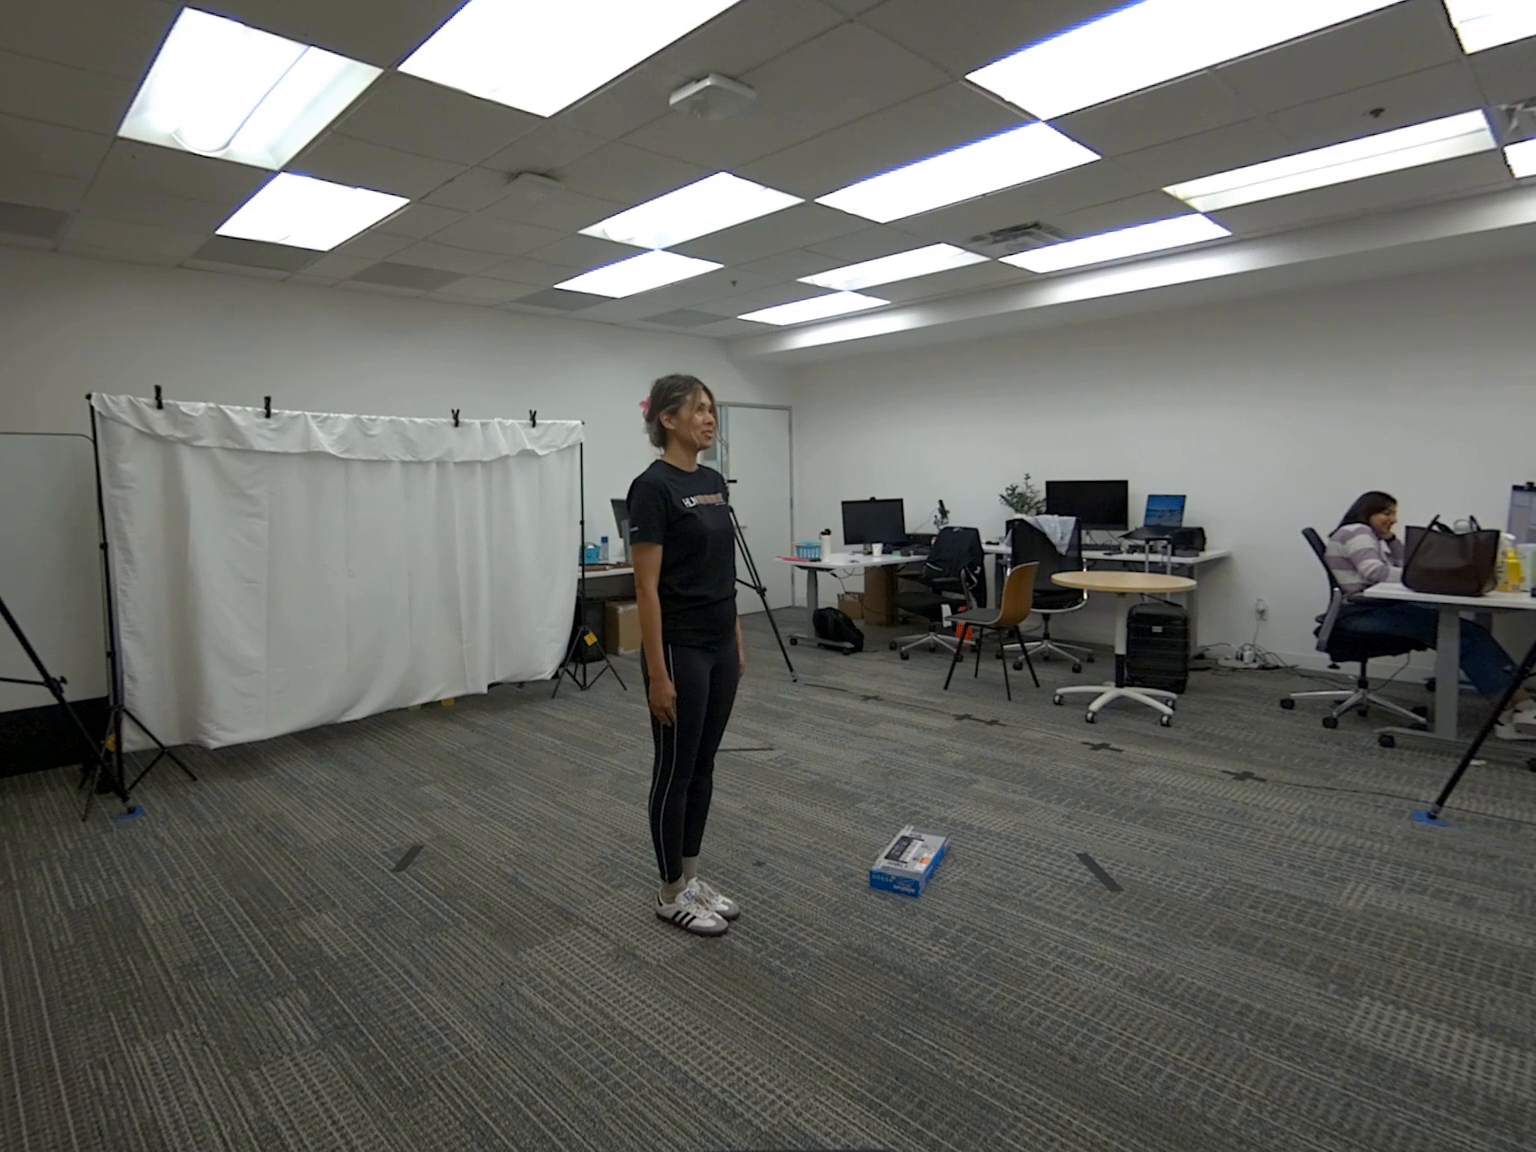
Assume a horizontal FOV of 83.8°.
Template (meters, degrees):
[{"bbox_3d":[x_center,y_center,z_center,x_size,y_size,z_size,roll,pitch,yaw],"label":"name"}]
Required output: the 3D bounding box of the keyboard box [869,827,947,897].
[{"bbox_3d":[0.521,1.013,3.063,0.180,0.059,0.428,2,7,26],"label":"keyboard box"}]
